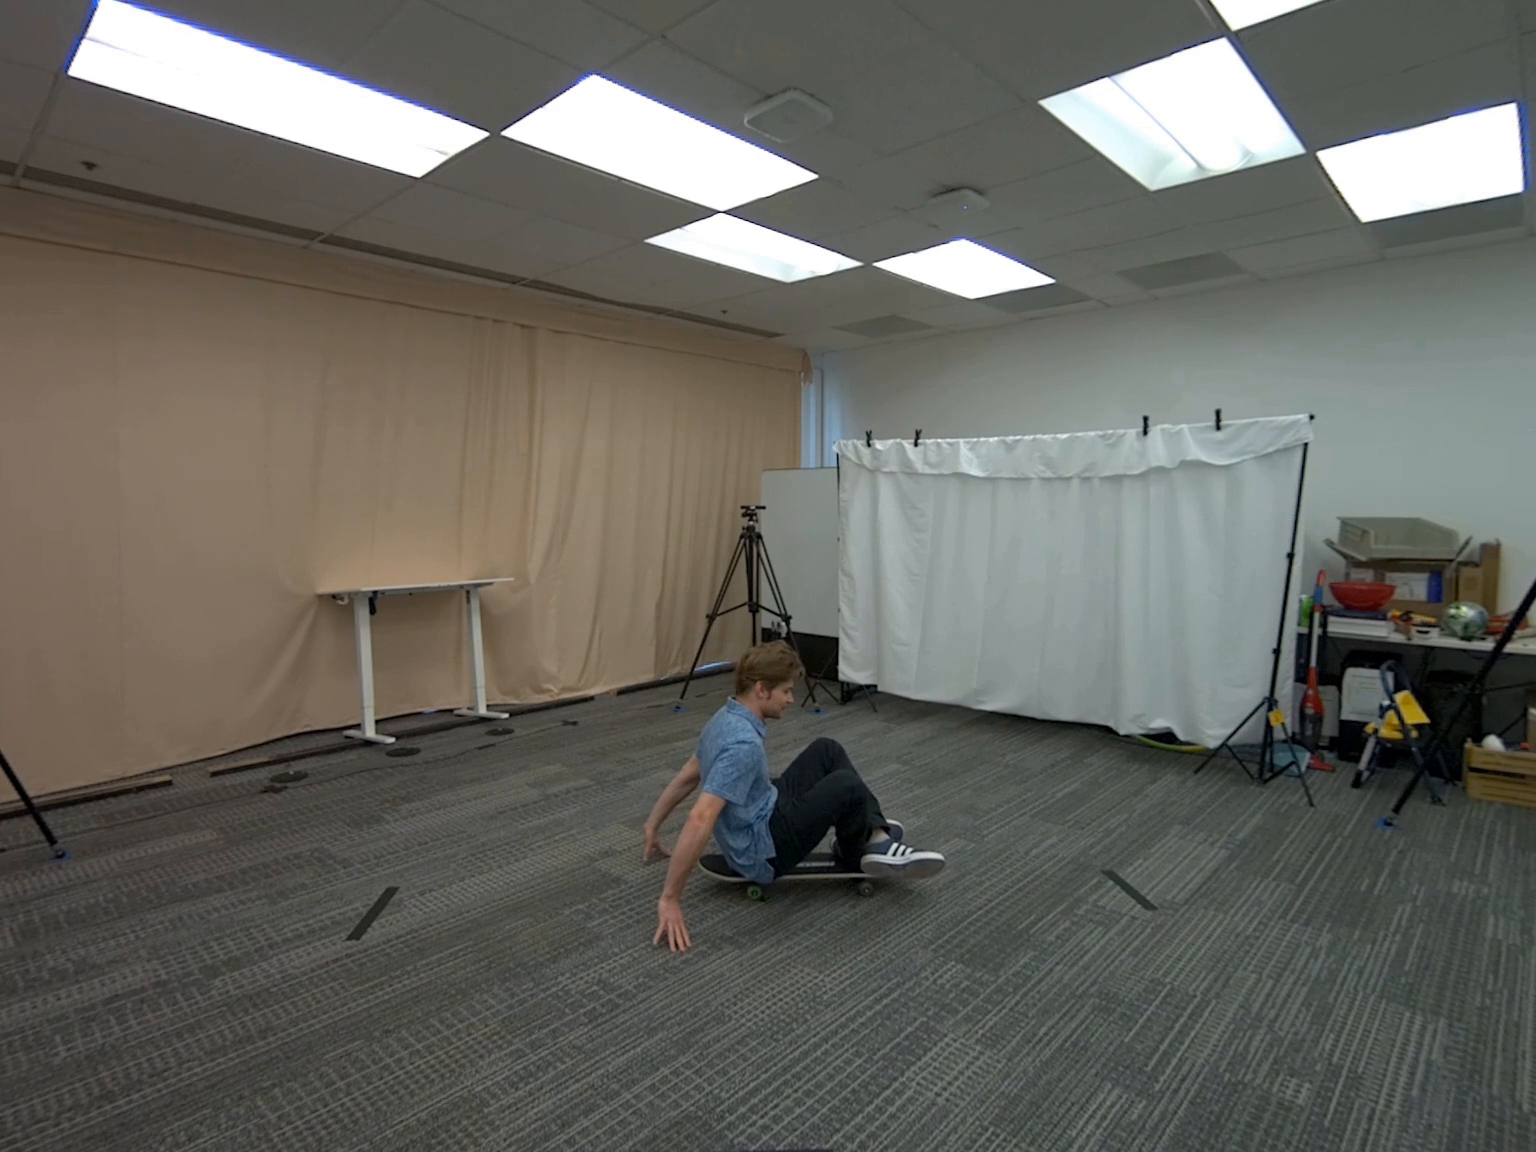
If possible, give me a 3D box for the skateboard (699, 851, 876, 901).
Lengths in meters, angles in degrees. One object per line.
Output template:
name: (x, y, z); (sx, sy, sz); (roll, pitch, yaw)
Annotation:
skateboard: (0.156, 1.087, 3.069); (0.783, 0.110, 0.194); (-1, 3, -2)
